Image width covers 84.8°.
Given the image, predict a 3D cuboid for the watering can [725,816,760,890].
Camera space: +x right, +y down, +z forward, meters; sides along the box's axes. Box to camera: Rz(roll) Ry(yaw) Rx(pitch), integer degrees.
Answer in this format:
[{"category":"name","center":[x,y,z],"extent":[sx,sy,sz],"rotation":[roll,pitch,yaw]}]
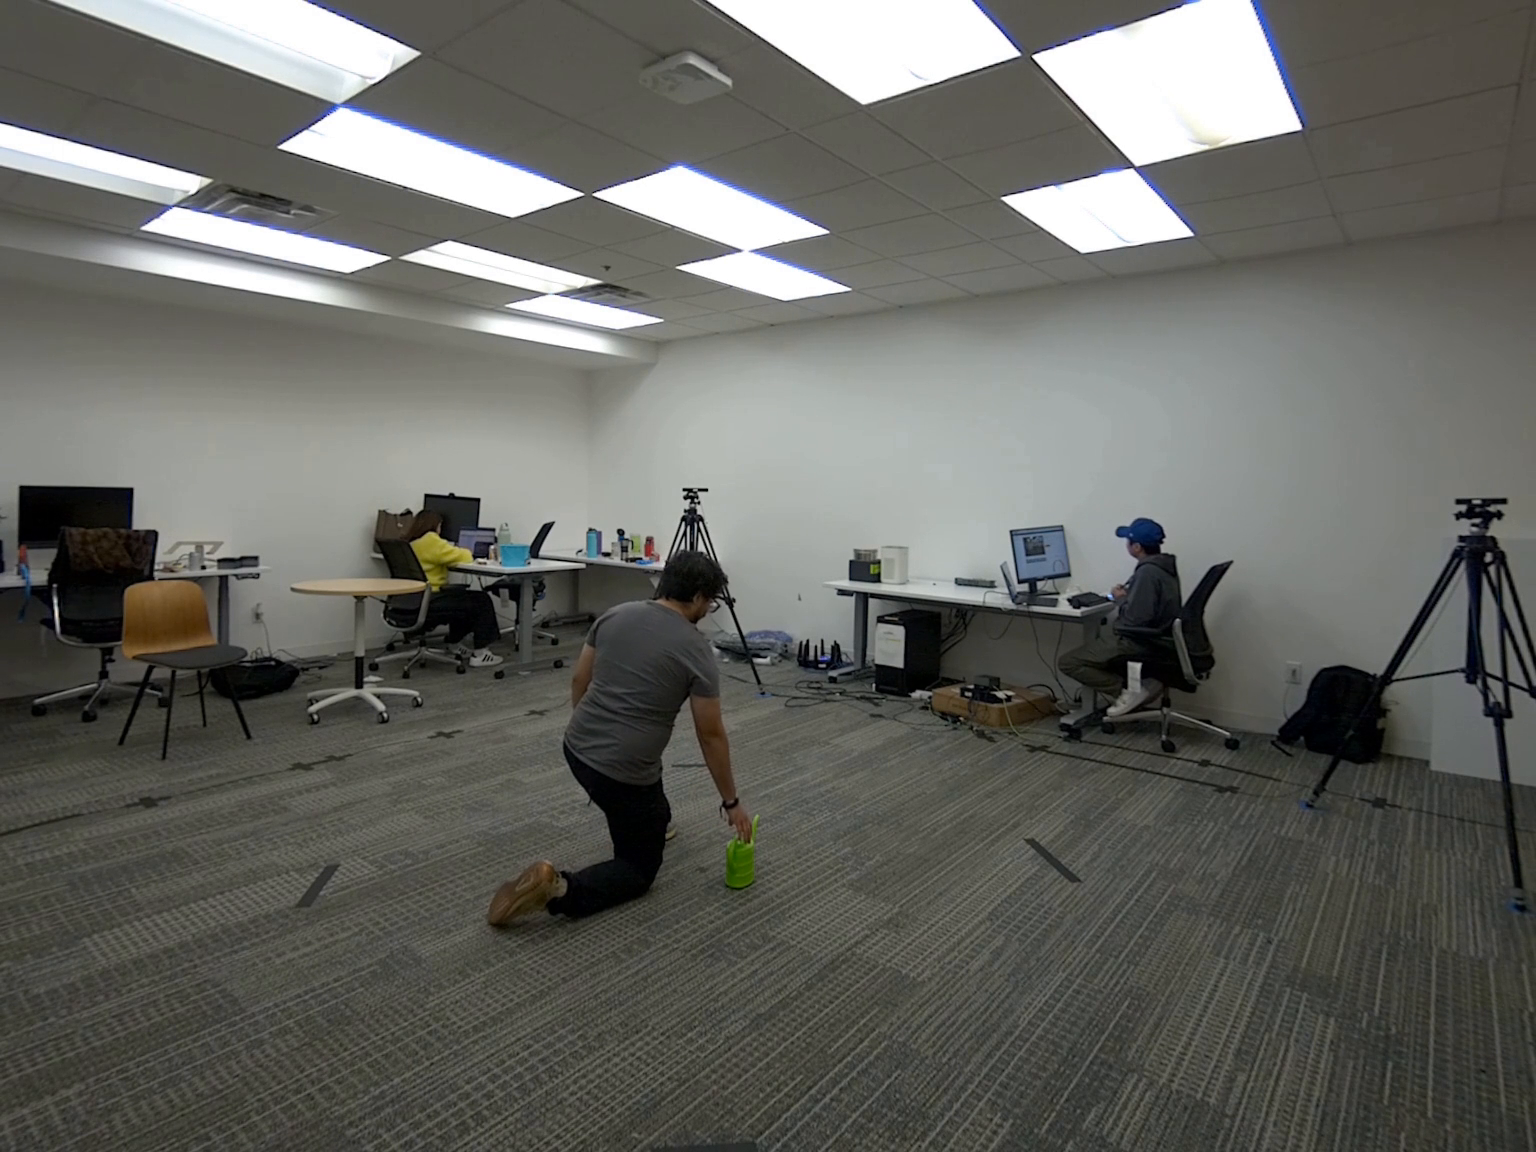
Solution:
[{"category":"watering can","center":[-0.084,0.993,3.045],"extent":[0.101,0.176,0.271],"rotation":[4,6,33]}]
